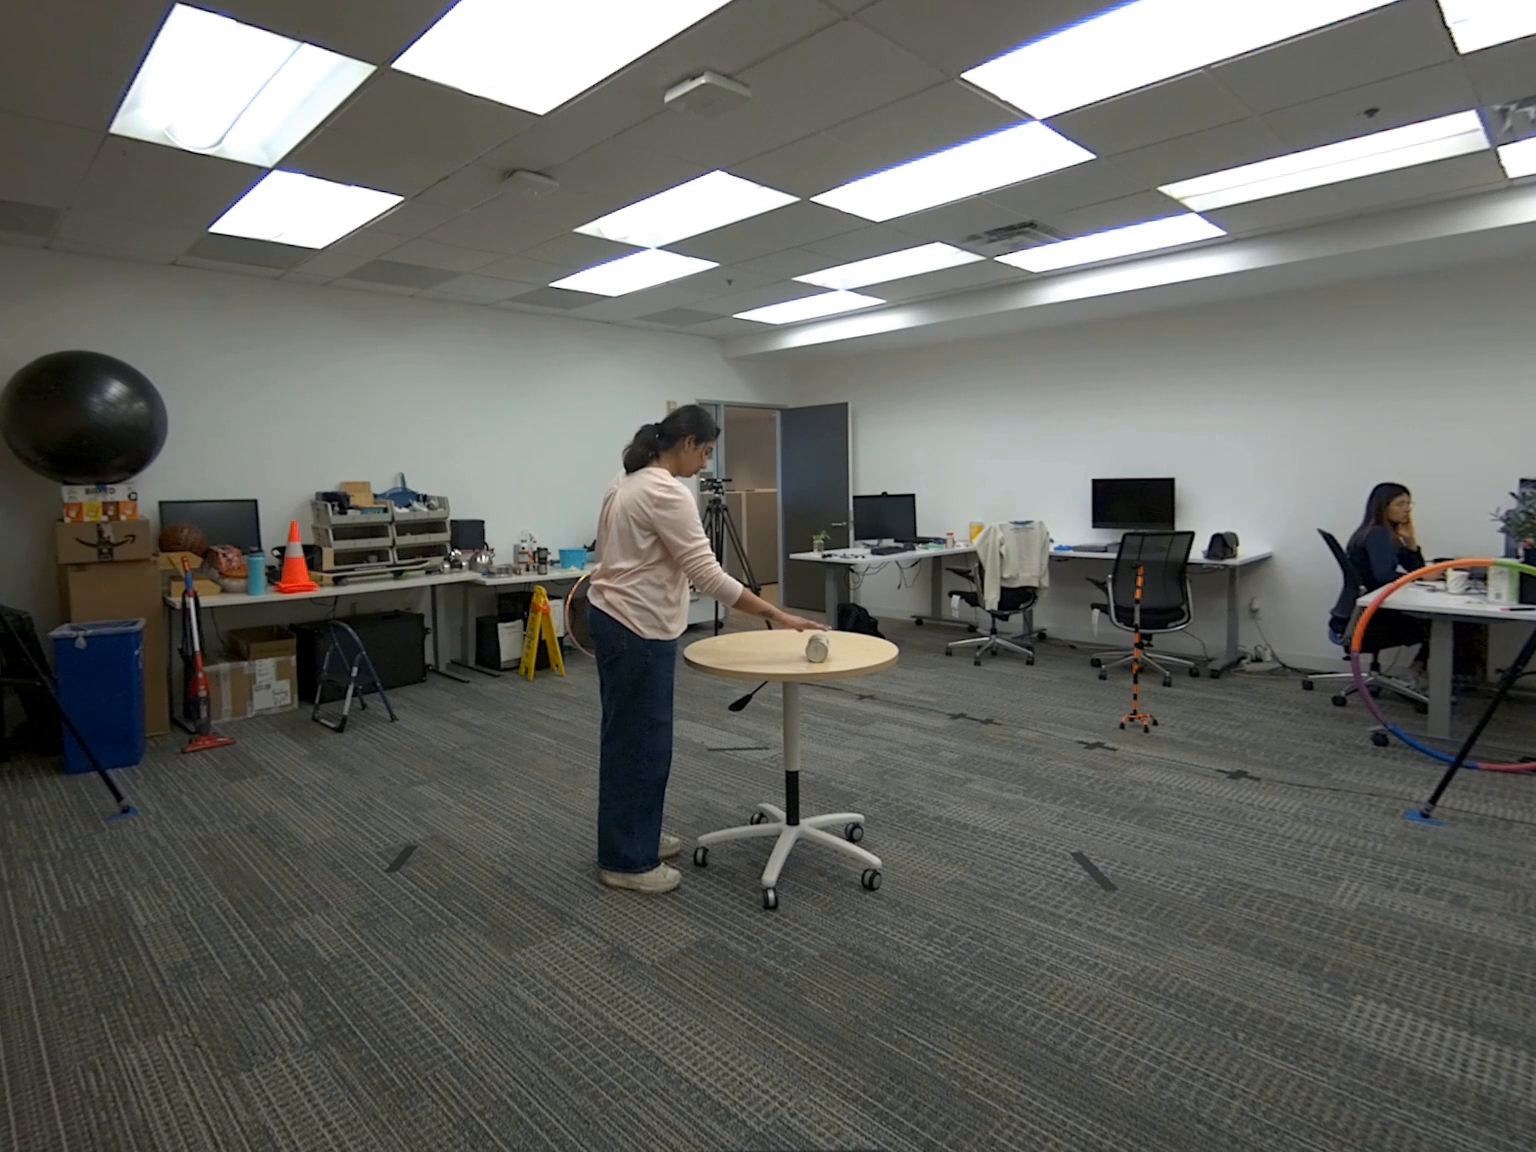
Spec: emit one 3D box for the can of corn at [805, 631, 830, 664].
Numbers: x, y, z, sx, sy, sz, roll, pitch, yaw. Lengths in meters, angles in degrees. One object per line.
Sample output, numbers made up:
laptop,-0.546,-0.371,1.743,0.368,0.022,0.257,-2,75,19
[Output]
can of corn,0.167,0.239,2.877,0.075,0.074,0.111,0,5,6
